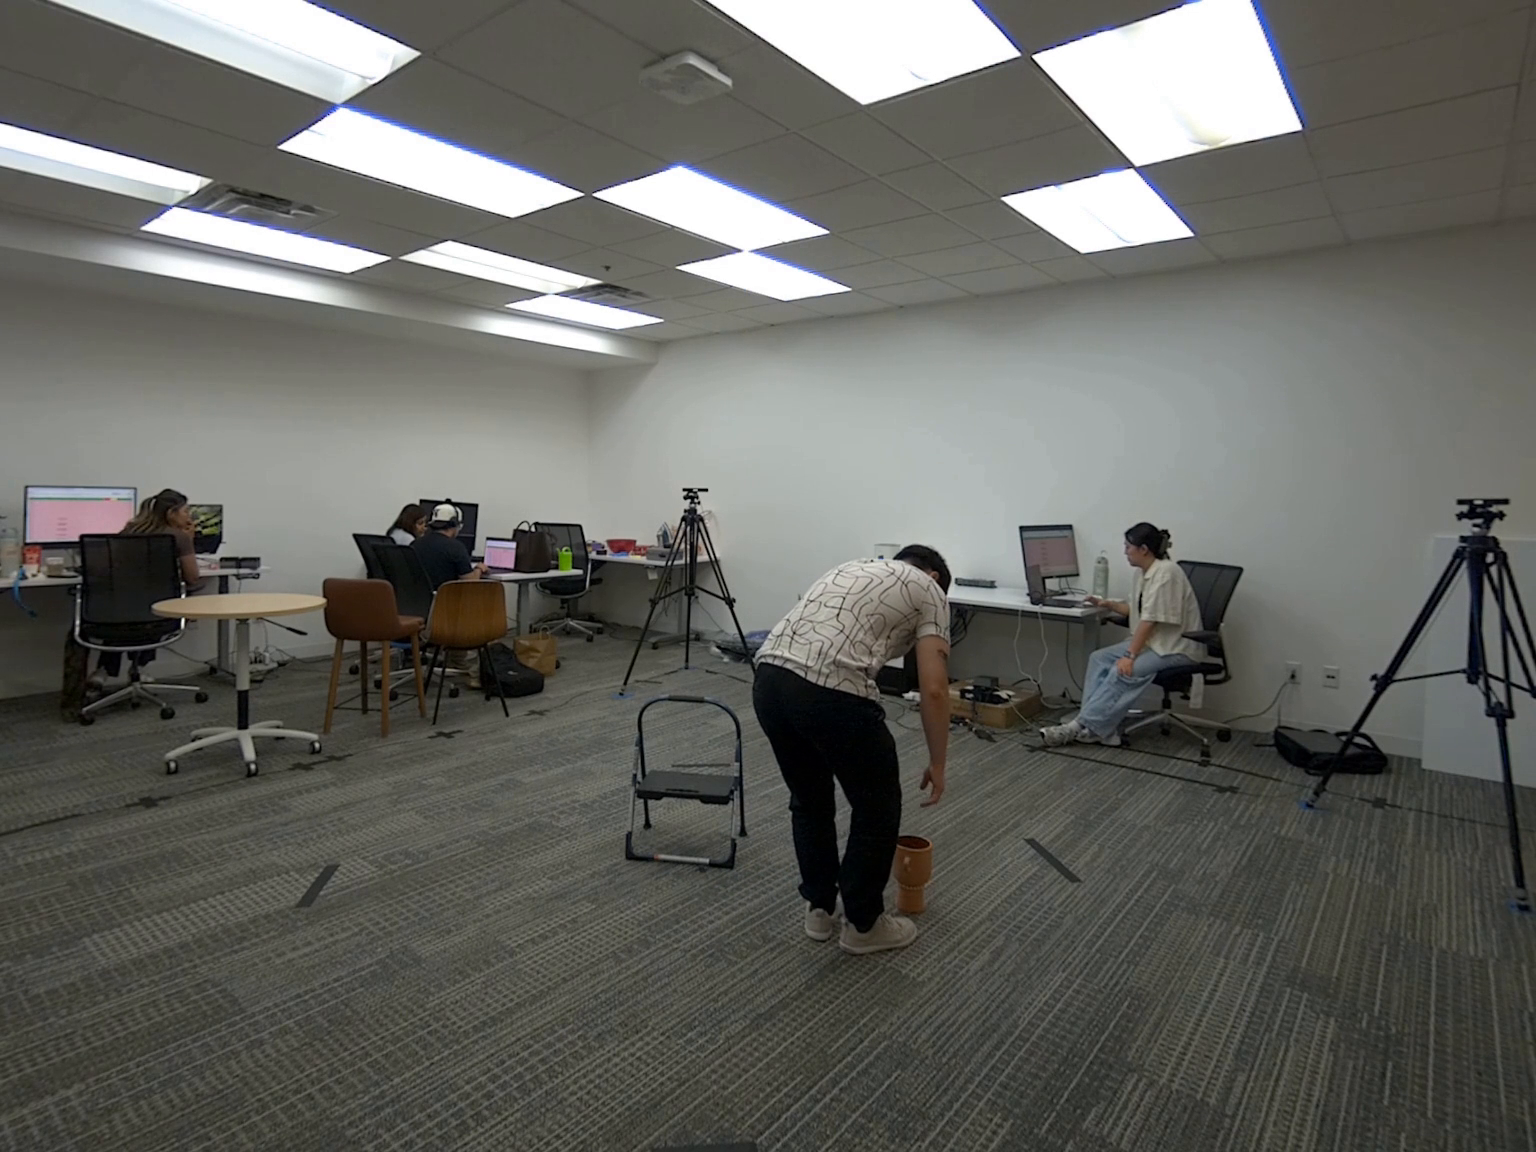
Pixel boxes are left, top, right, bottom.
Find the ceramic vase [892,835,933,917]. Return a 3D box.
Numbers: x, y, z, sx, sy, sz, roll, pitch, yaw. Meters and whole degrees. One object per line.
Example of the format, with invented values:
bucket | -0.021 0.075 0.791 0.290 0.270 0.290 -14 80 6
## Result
ceramic vase | 0.474 0.997 2.866 0.154 0.219 0.139 0 4 -29
